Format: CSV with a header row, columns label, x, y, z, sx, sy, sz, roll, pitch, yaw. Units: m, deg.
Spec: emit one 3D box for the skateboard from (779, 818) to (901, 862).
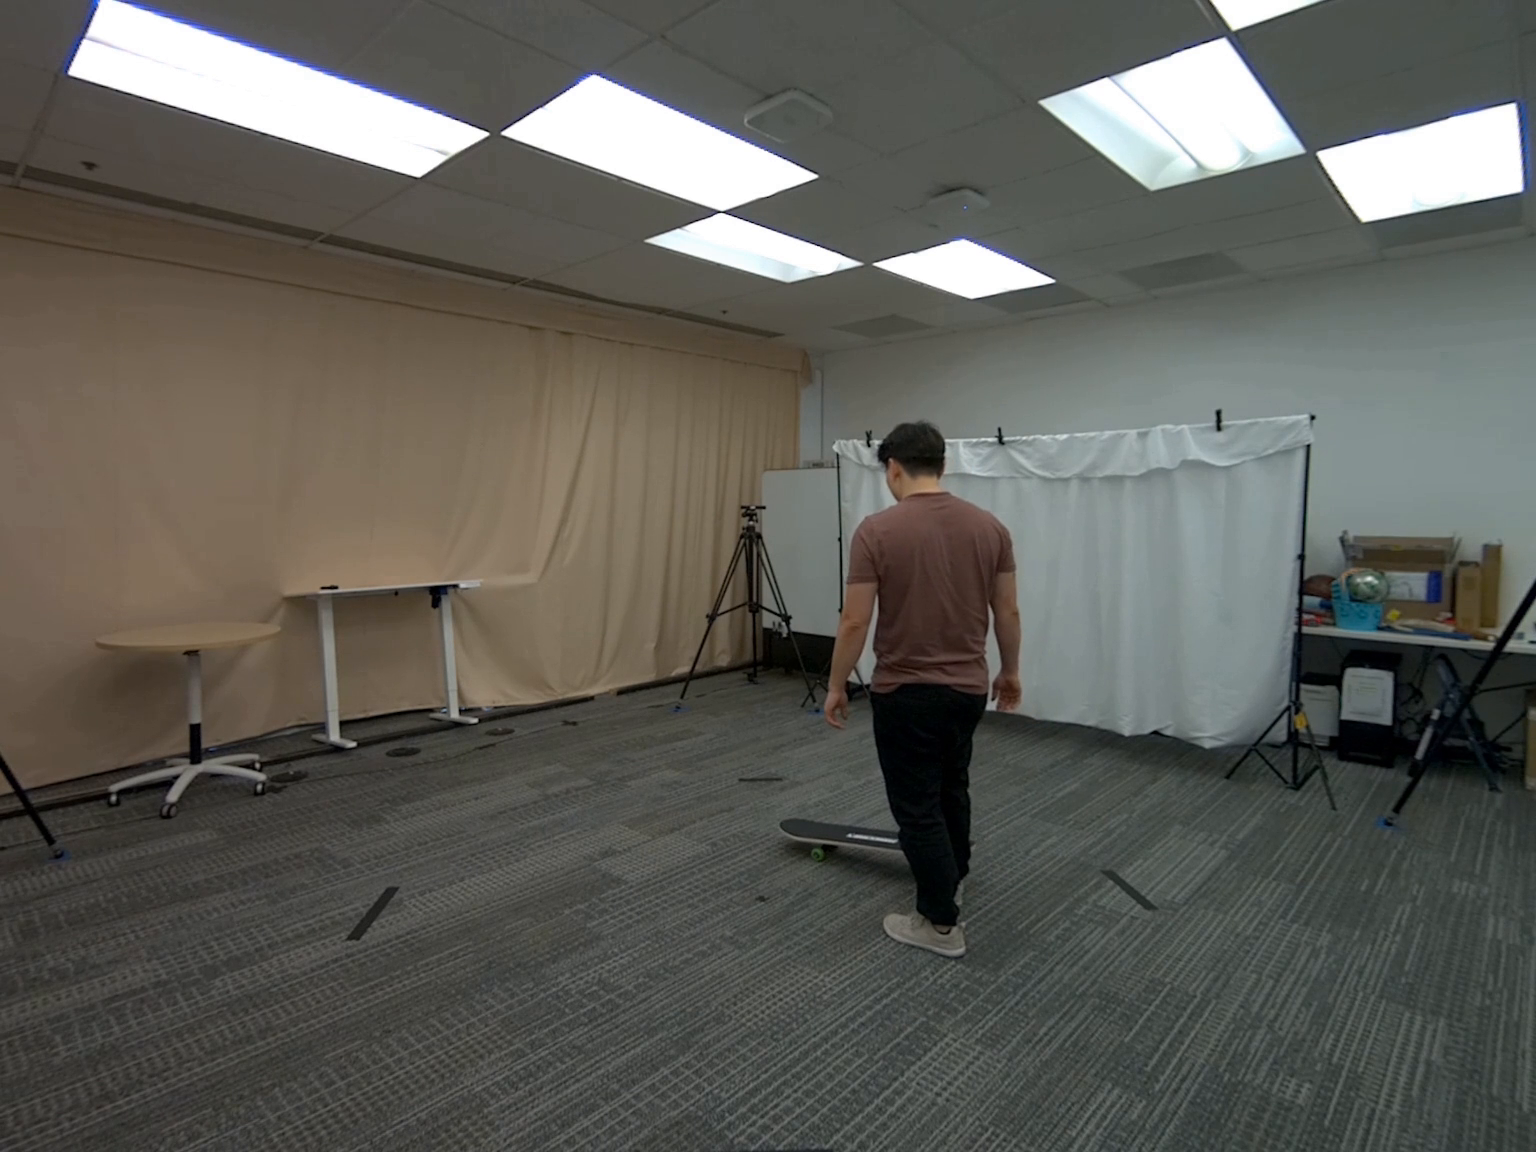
label,x,y,z,sx,sy,sz,roll,pitch,yaw
skateboard,0.413,1.045,3.257,0.807,0.110,0.188,-2,3,31
